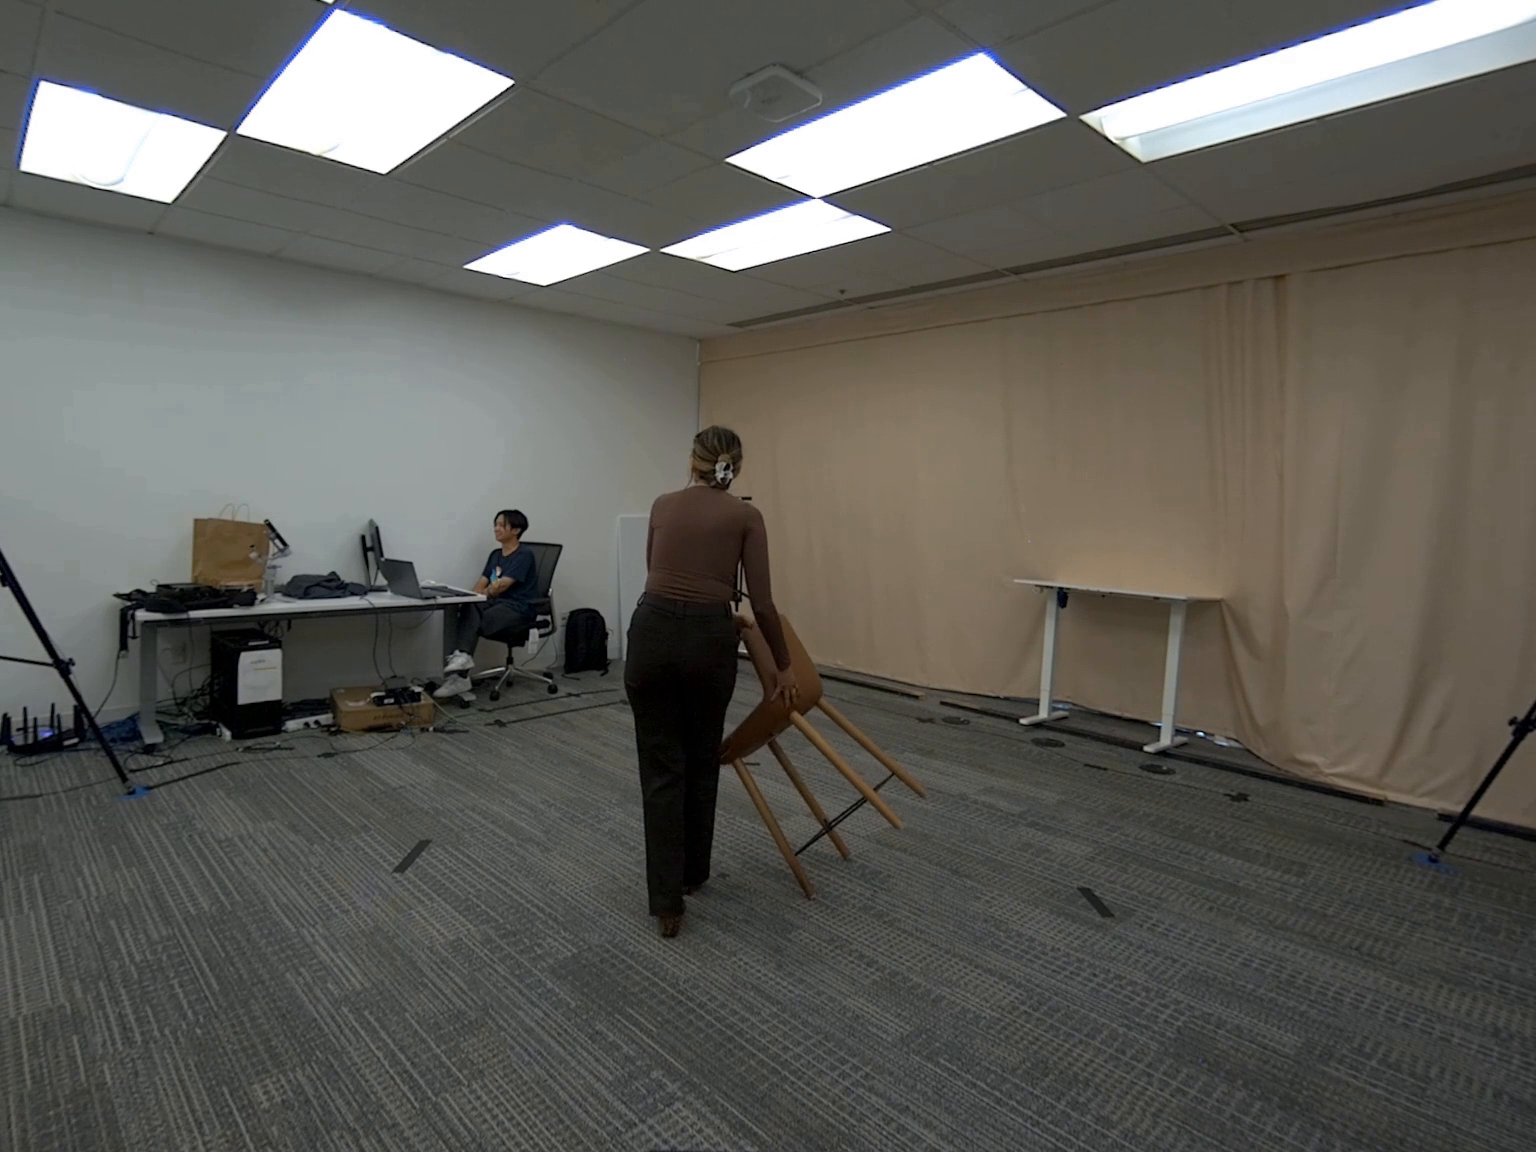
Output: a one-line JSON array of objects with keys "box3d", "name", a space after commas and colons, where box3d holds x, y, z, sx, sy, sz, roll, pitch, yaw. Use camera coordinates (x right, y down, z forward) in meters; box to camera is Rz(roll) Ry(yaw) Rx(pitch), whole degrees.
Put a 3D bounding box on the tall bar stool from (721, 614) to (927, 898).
[{"box3d": [0.103, 0.637, 3.158, 0.468, 0.904, 0.449, -43, -16, 21], "name": "tall bar stool"}]
